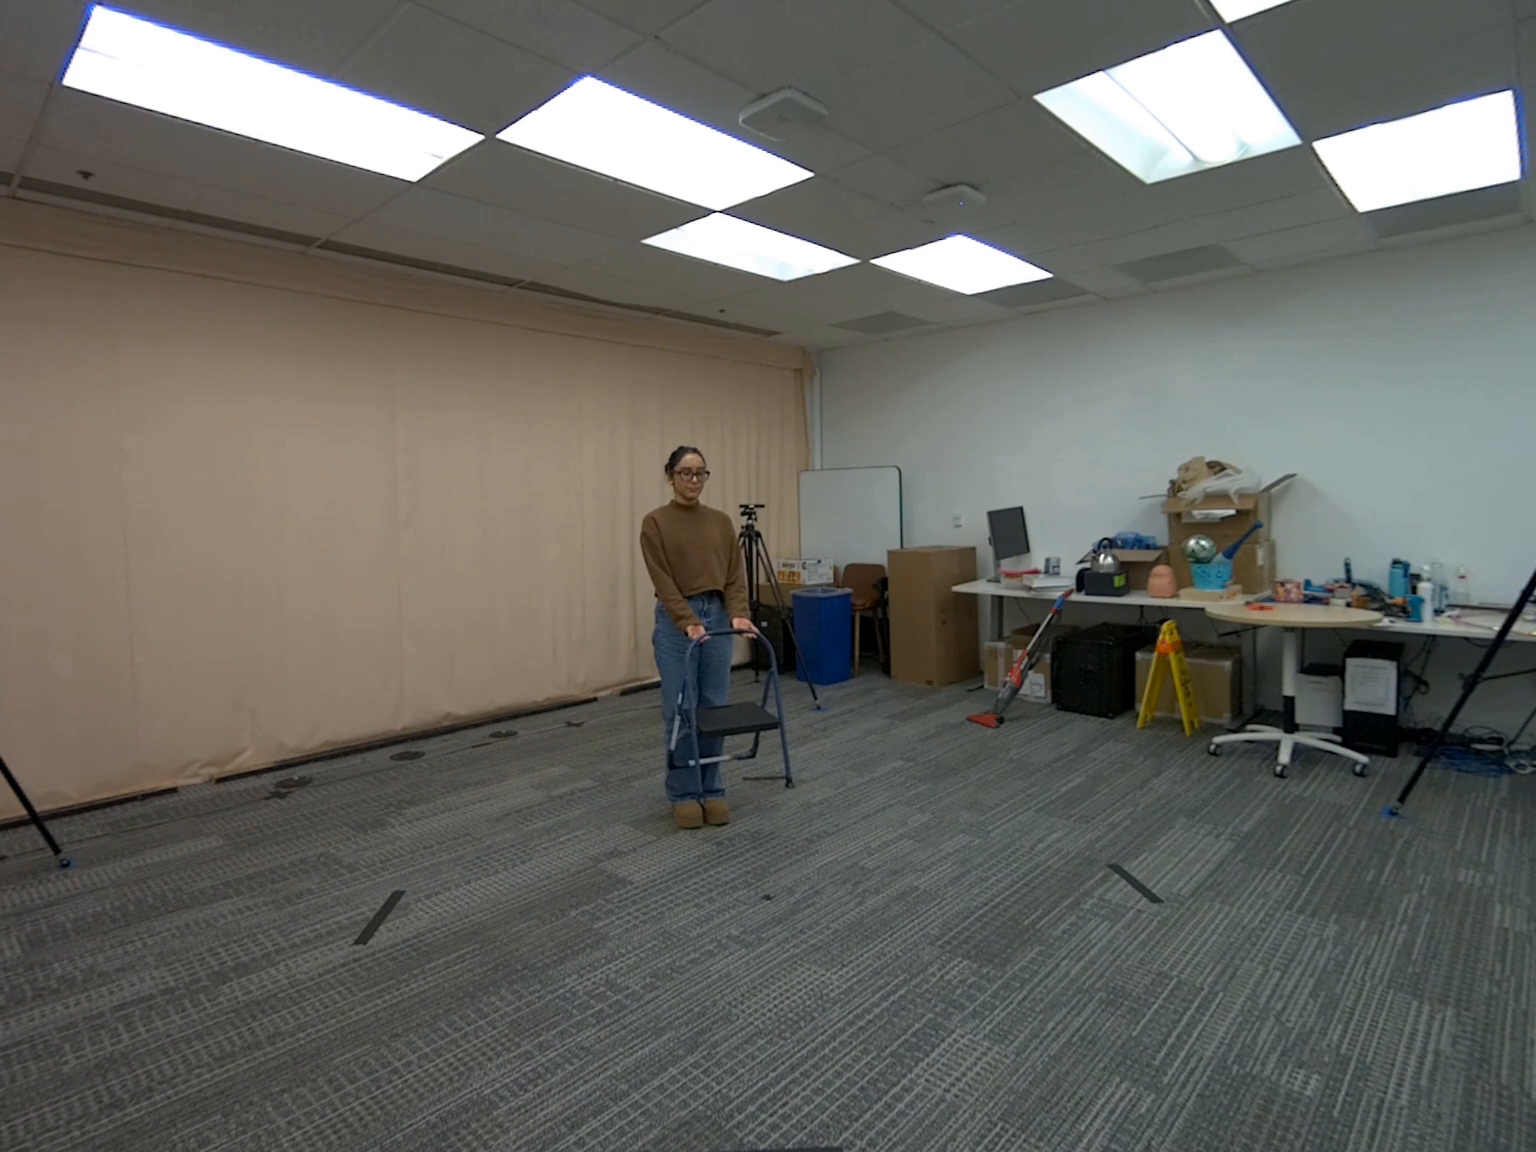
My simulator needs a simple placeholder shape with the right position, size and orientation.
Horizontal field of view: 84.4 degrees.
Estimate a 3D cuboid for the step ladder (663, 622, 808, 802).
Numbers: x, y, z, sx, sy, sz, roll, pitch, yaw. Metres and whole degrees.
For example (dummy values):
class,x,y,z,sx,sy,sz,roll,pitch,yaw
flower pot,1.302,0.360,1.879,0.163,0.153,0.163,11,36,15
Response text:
class,x,y,z,sx,sy,sz,roll,pitch,yaw
step ladder,-0.140,0.529,3.403,0.419,0.603,0.360,-1,9,-29
